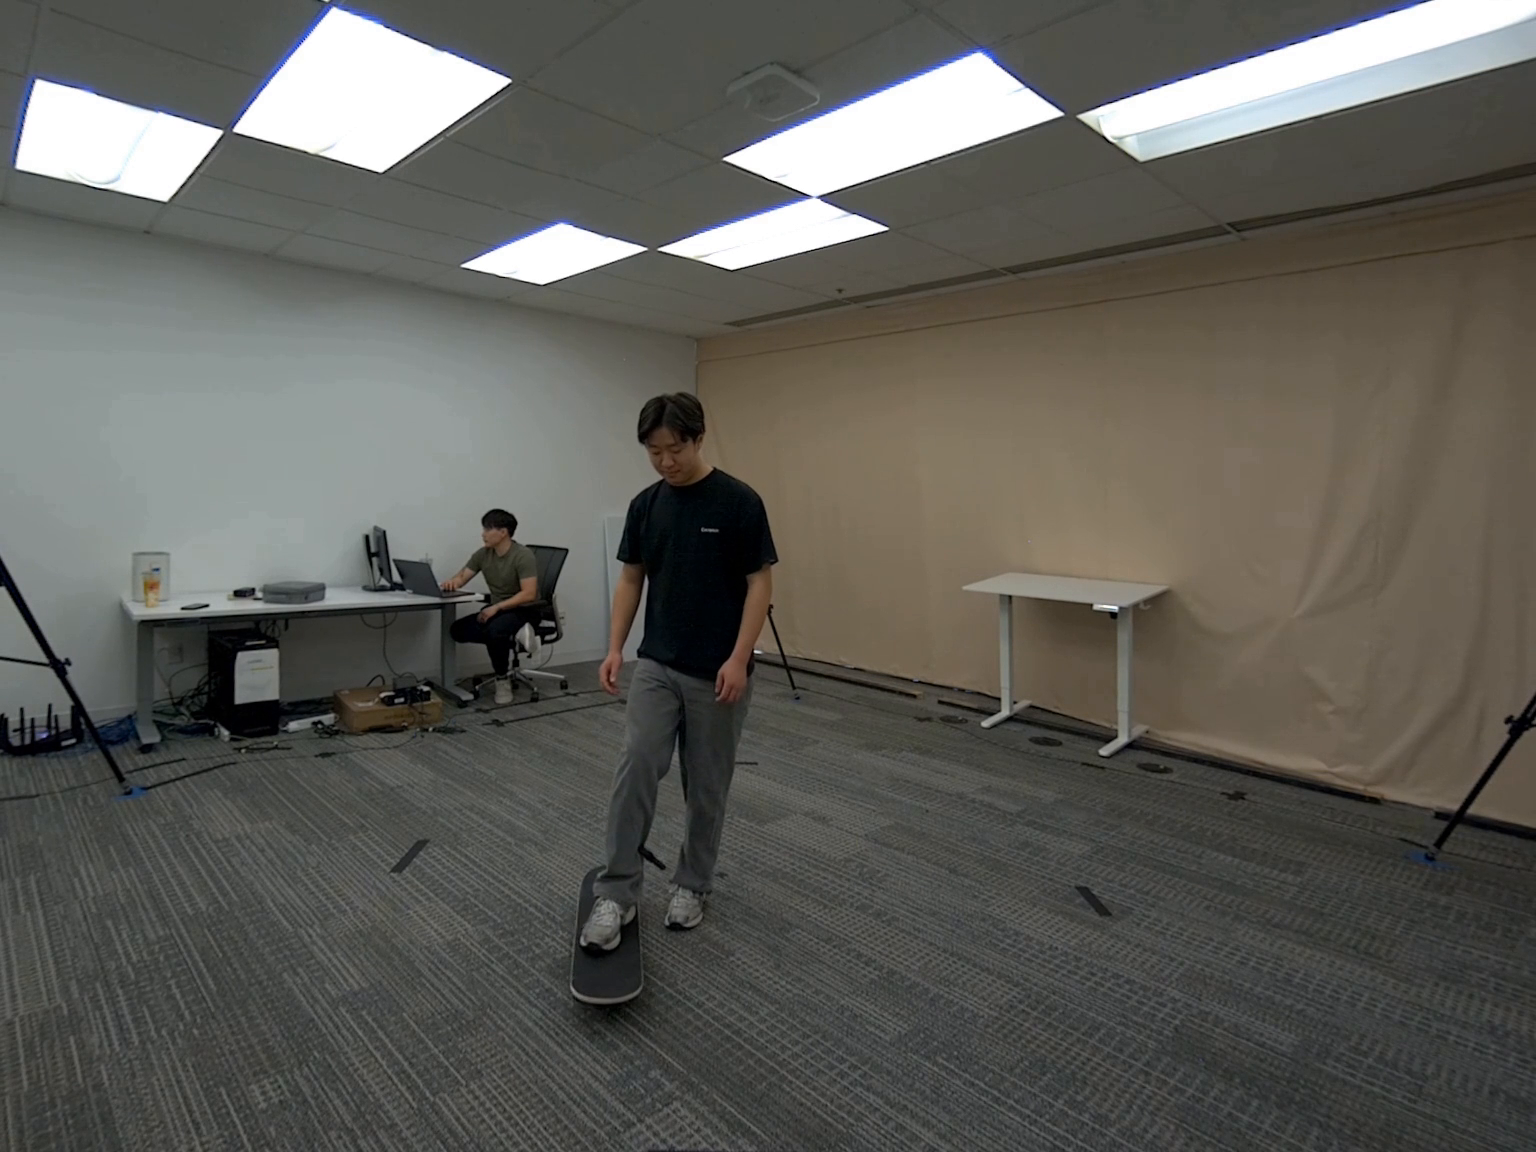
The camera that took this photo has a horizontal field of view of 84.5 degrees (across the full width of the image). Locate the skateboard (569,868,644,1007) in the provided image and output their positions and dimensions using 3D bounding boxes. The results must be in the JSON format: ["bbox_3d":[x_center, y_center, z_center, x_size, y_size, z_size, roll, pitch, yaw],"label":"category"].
[{"bbox_3d":[-0.491,1.097,2.525,0.192,0.110,0.793,1,5,-10],"label":"skateboard"}]
